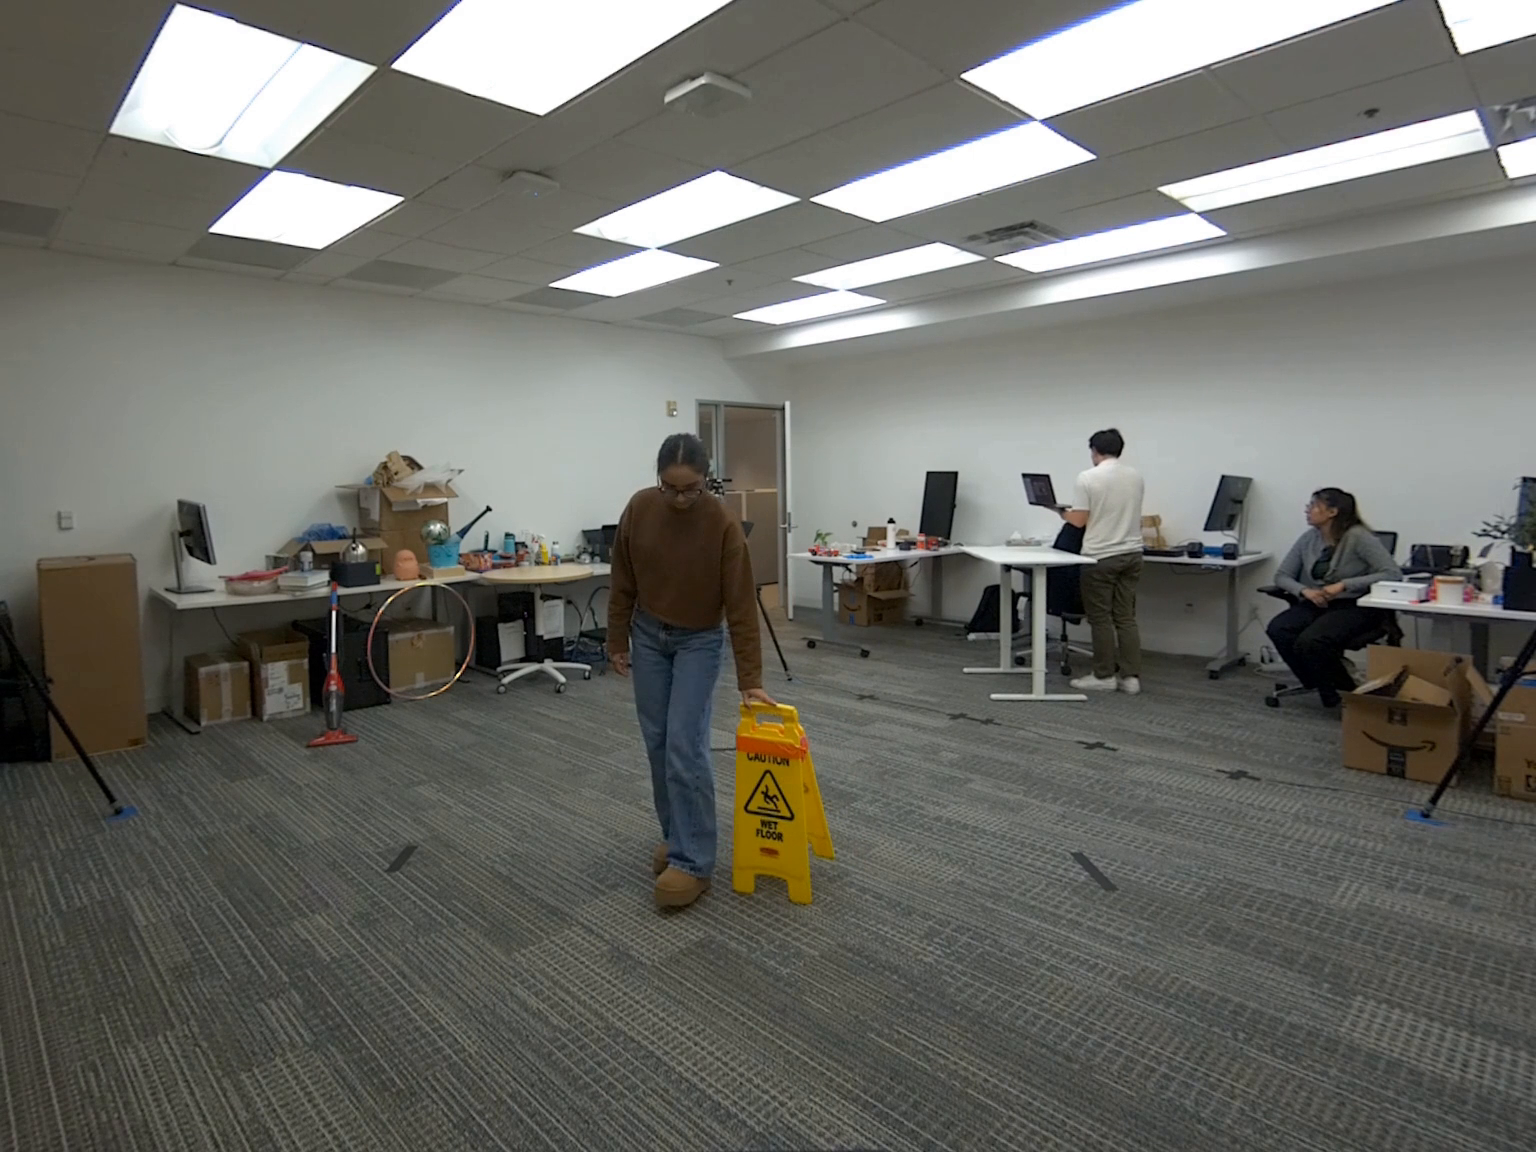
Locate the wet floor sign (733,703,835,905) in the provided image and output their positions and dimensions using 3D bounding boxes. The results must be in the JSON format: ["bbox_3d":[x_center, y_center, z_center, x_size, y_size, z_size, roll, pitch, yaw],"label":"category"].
[{"bbox_3d":[0.032,0.724,2.871,0.288,0.636,0.288,0,17,24],"label":"wet floor sign"}]
